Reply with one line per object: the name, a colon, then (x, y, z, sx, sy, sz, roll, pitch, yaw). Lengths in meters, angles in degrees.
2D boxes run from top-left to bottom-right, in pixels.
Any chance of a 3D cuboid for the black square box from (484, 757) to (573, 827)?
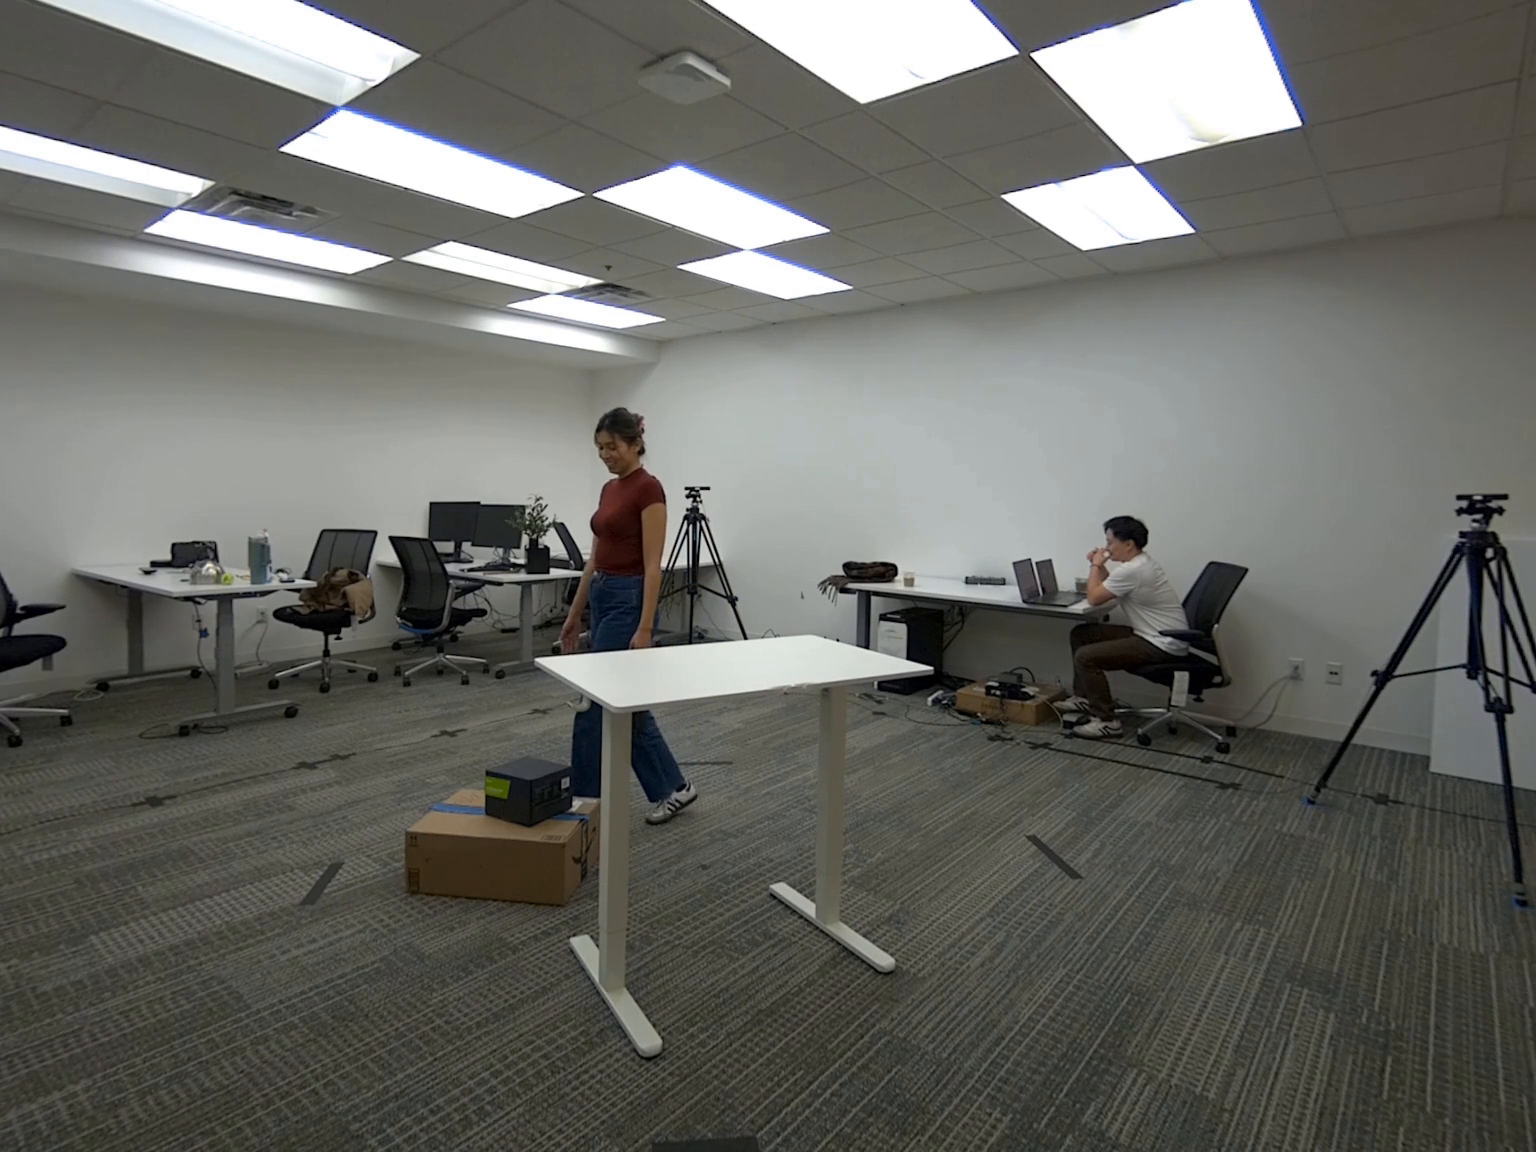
black square box: (-0.870, 0.758, 3.053, 0.234, 0.156, 0.211, 2, 3, 30)
